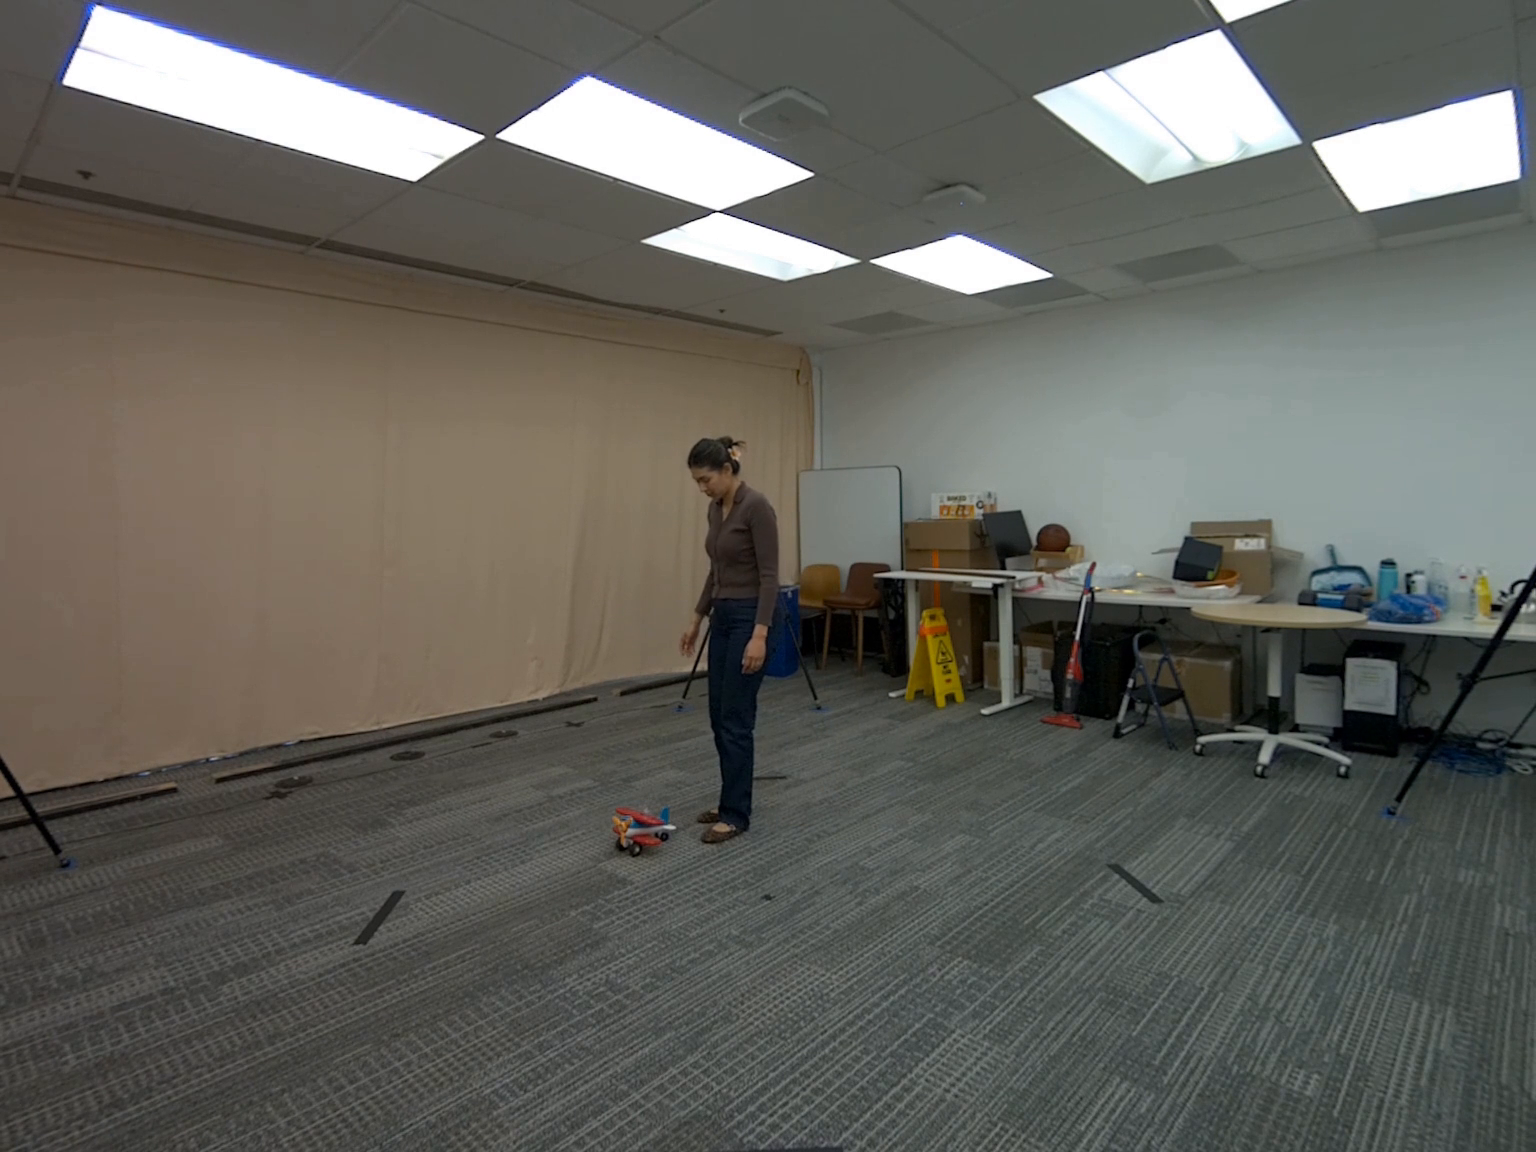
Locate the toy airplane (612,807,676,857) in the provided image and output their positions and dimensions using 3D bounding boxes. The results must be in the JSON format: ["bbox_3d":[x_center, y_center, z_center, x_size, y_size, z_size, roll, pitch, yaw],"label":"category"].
[{"bbox_3d":[-0.523,1.034,3.462,0.255,0.156,0.256,-1,5,15],"label":"toy airplane"}]
